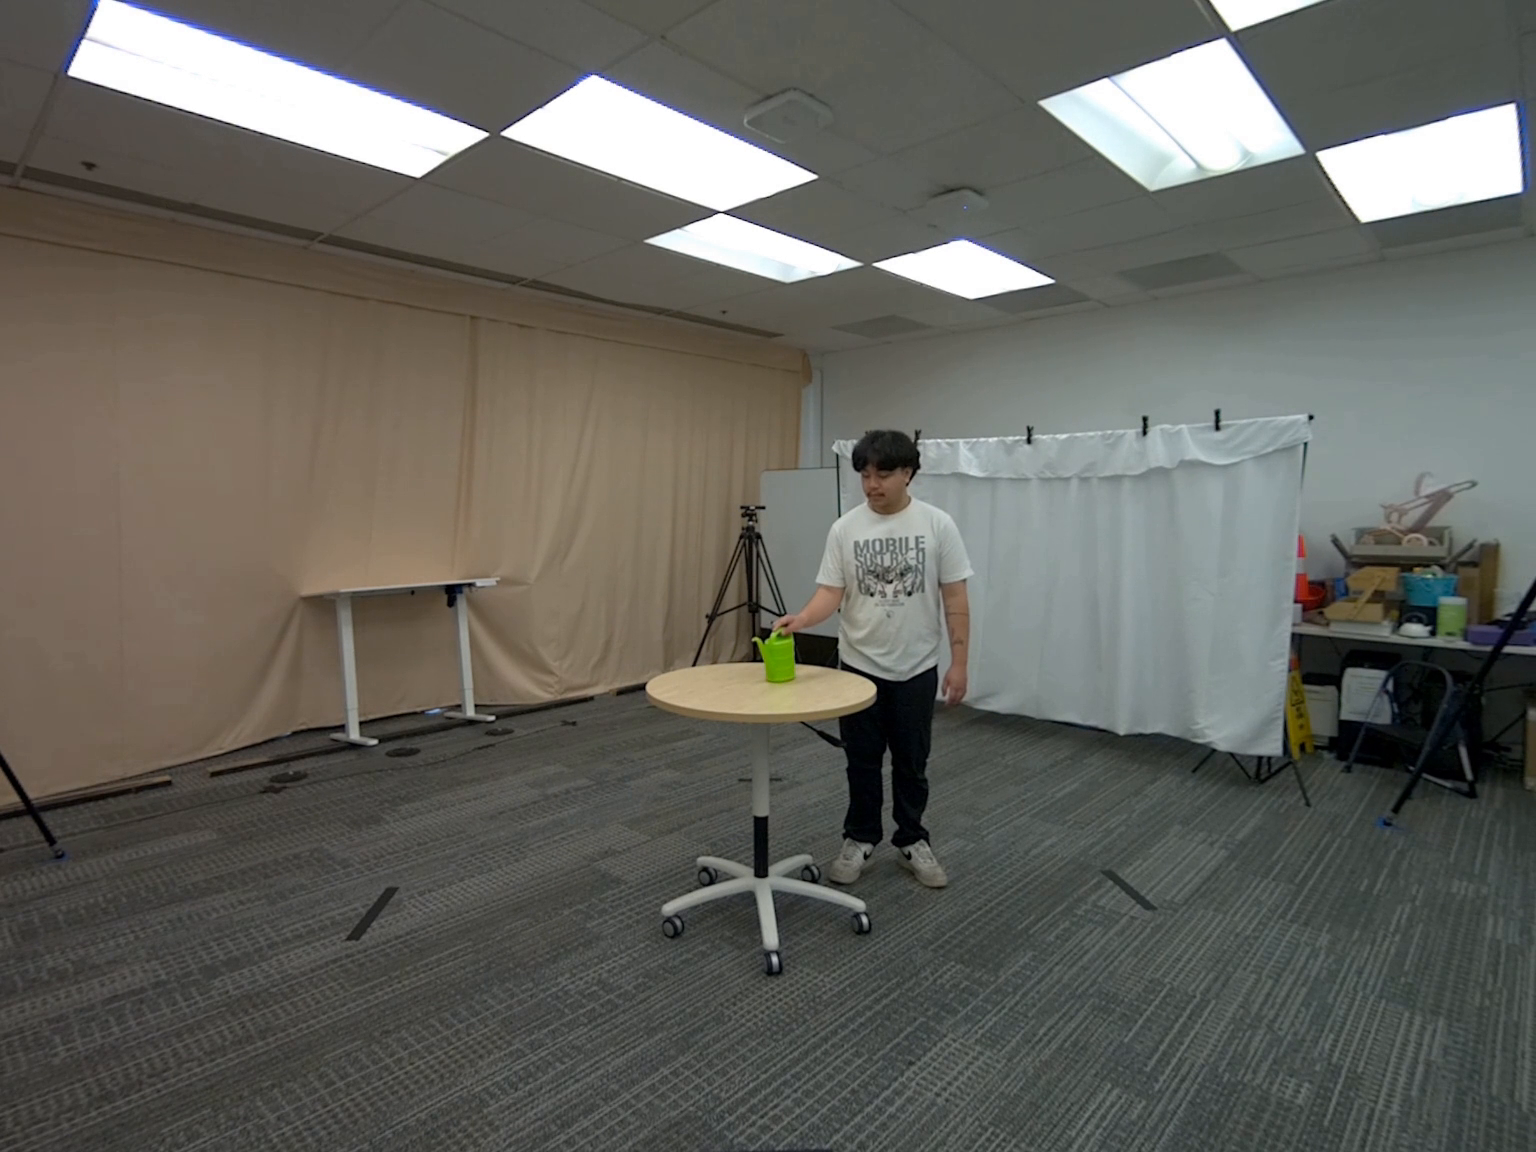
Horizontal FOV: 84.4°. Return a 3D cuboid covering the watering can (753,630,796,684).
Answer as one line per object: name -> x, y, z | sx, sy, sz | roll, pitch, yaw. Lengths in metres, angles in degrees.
watering can -> 0.016, 0.273, 2.862 | 0.101, 0.176, 0.270 | 5, 7, 41
